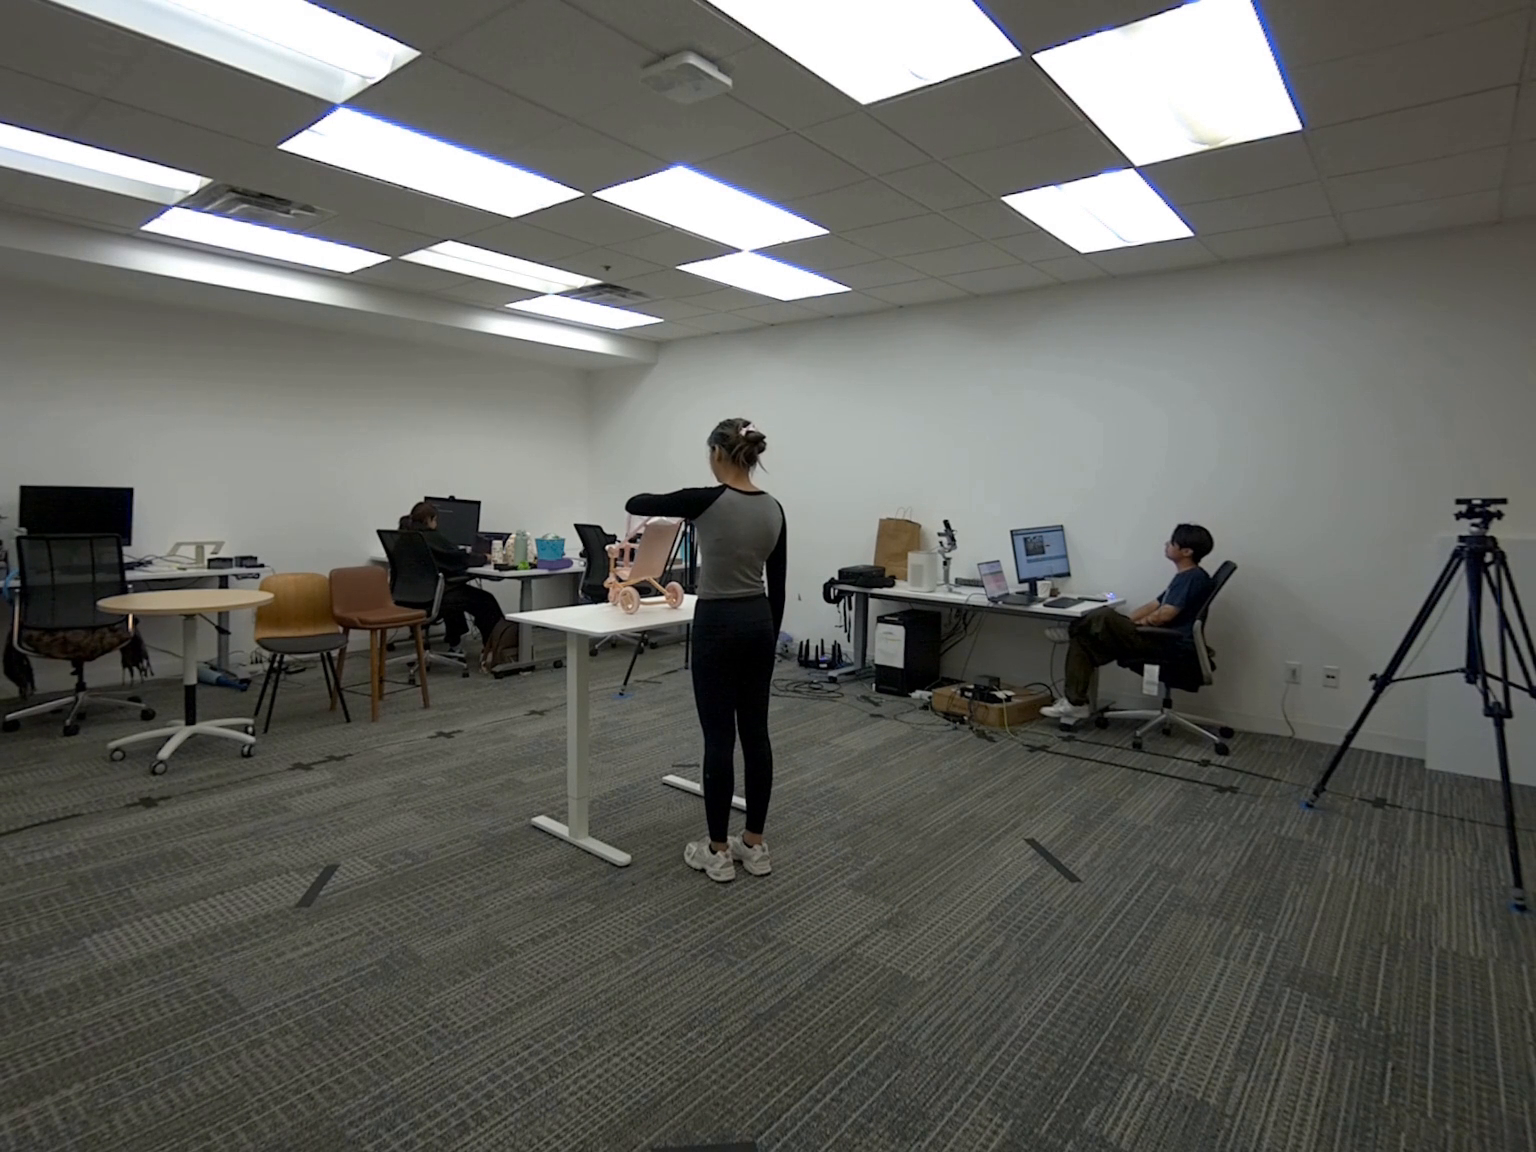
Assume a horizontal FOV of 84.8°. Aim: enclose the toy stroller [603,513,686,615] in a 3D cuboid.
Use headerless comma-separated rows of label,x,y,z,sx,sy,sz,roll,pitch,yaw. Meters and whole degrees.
toy stroller,-0.535,-0.087,3.557,0.273,0.530,0.355,-1,19,-43
